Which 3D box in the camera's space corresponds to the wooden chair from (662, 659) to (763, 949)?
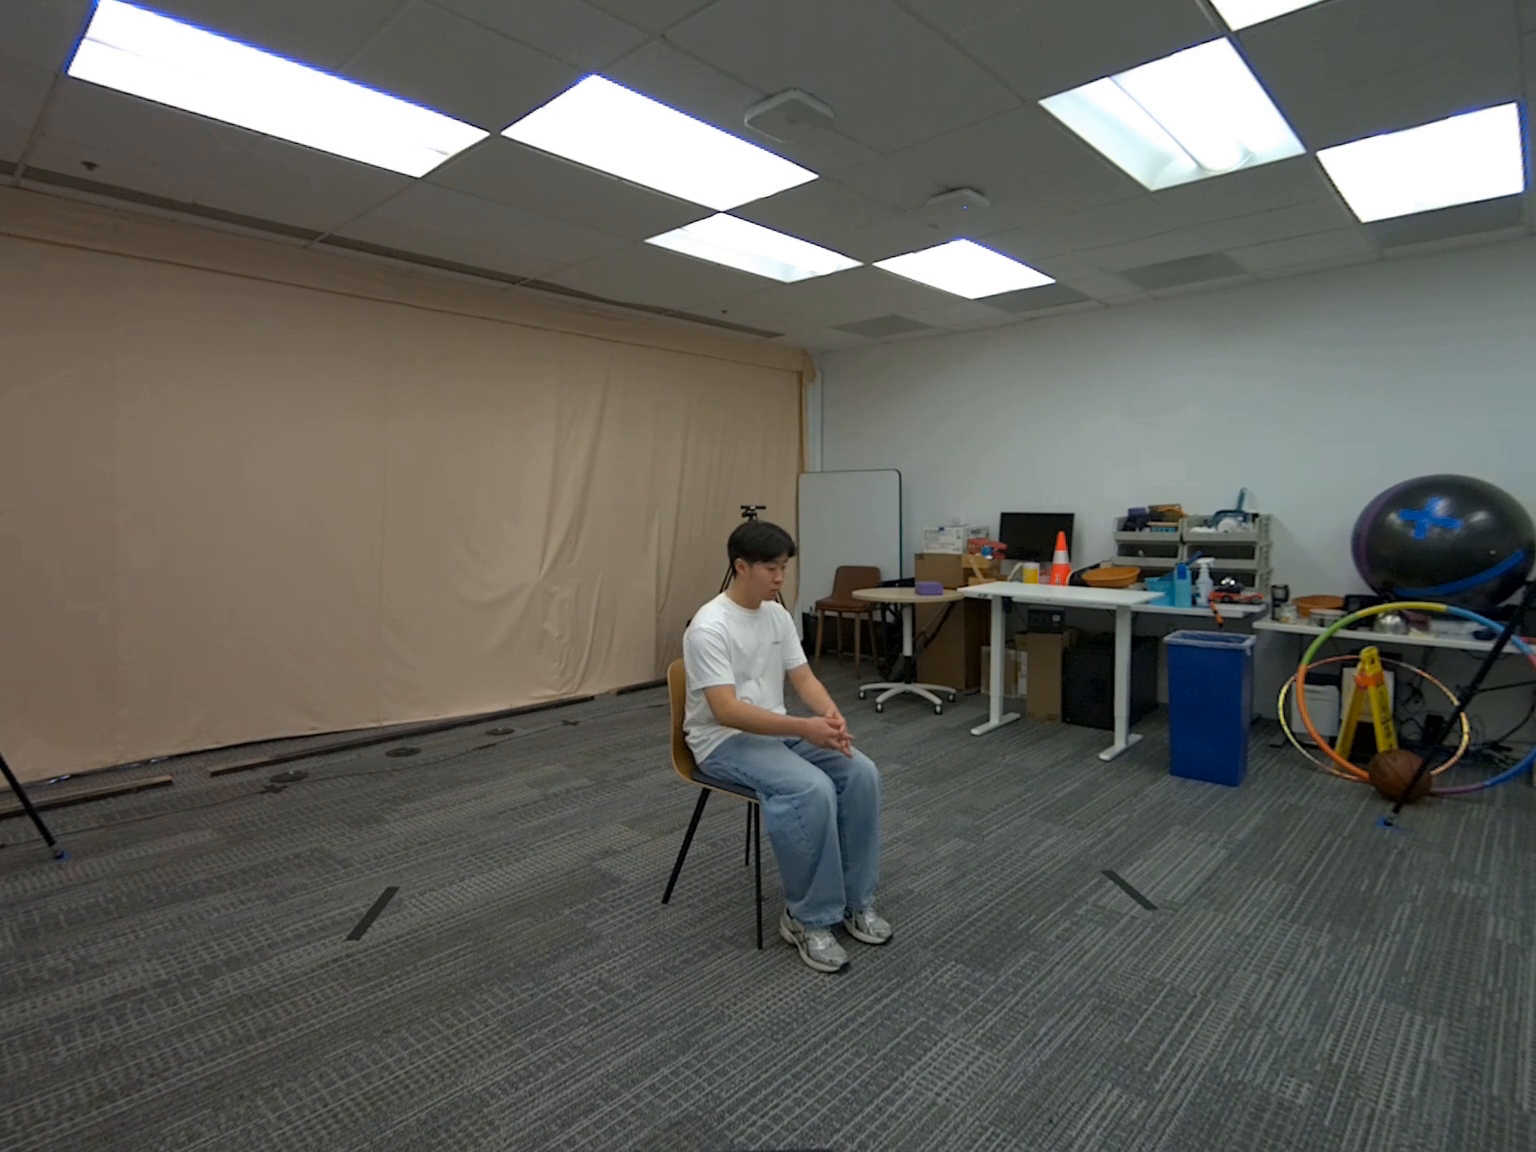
[{"bbox_3d":[-0.054,0.722,2.928,0.539,0.877,0.463,-3,1,42],"label":"wooden chair"}]
